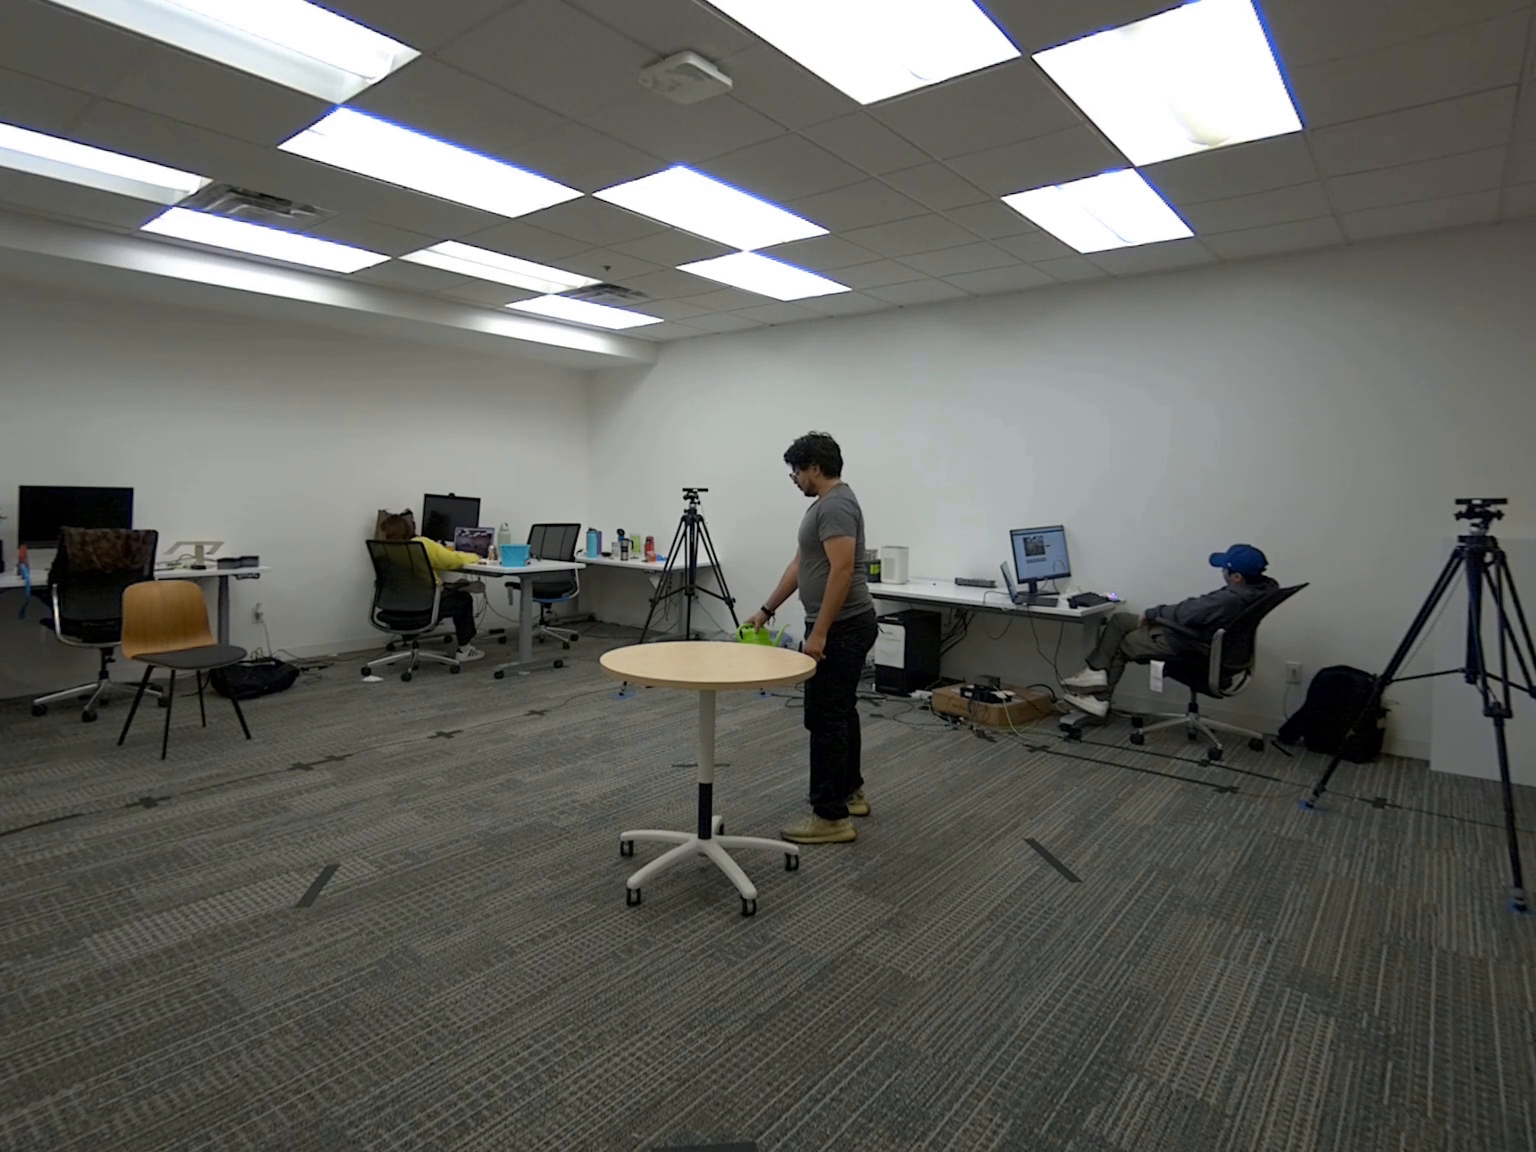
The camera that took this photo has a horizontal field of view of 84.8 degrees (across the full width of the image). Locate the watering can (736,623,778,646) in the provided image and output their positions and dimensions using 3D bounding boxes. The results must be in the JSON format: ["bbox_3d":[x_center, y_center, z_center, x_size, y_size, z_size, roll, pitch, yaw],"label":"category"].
[{"bbox_3d":[-0.012,0.287,3.865,0.276,0.182,0.096,-4,-31,-7],"label":"watering can"}]
